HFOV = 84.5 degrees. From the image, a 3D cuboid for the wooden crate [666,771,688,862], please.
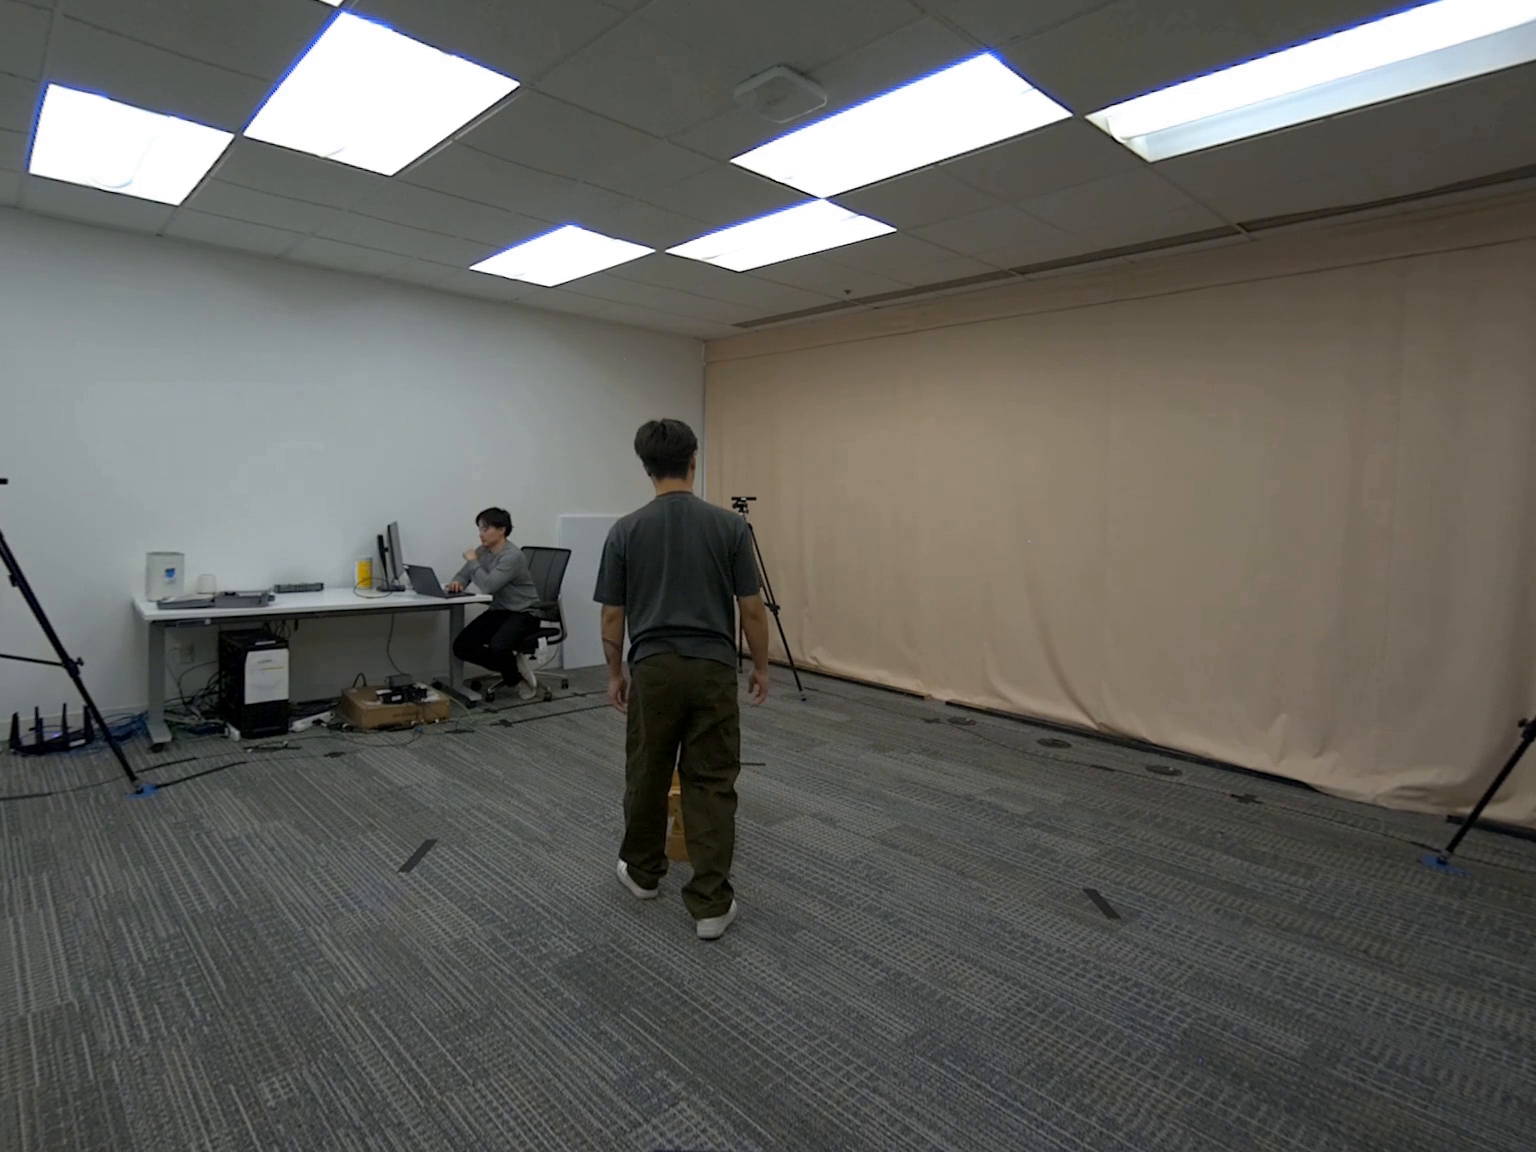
[{"bbox_3d":[-0.283,0.949,3.371,0.302,0.273,0.325,2,4,-1],"label":"wooden crate"}]
